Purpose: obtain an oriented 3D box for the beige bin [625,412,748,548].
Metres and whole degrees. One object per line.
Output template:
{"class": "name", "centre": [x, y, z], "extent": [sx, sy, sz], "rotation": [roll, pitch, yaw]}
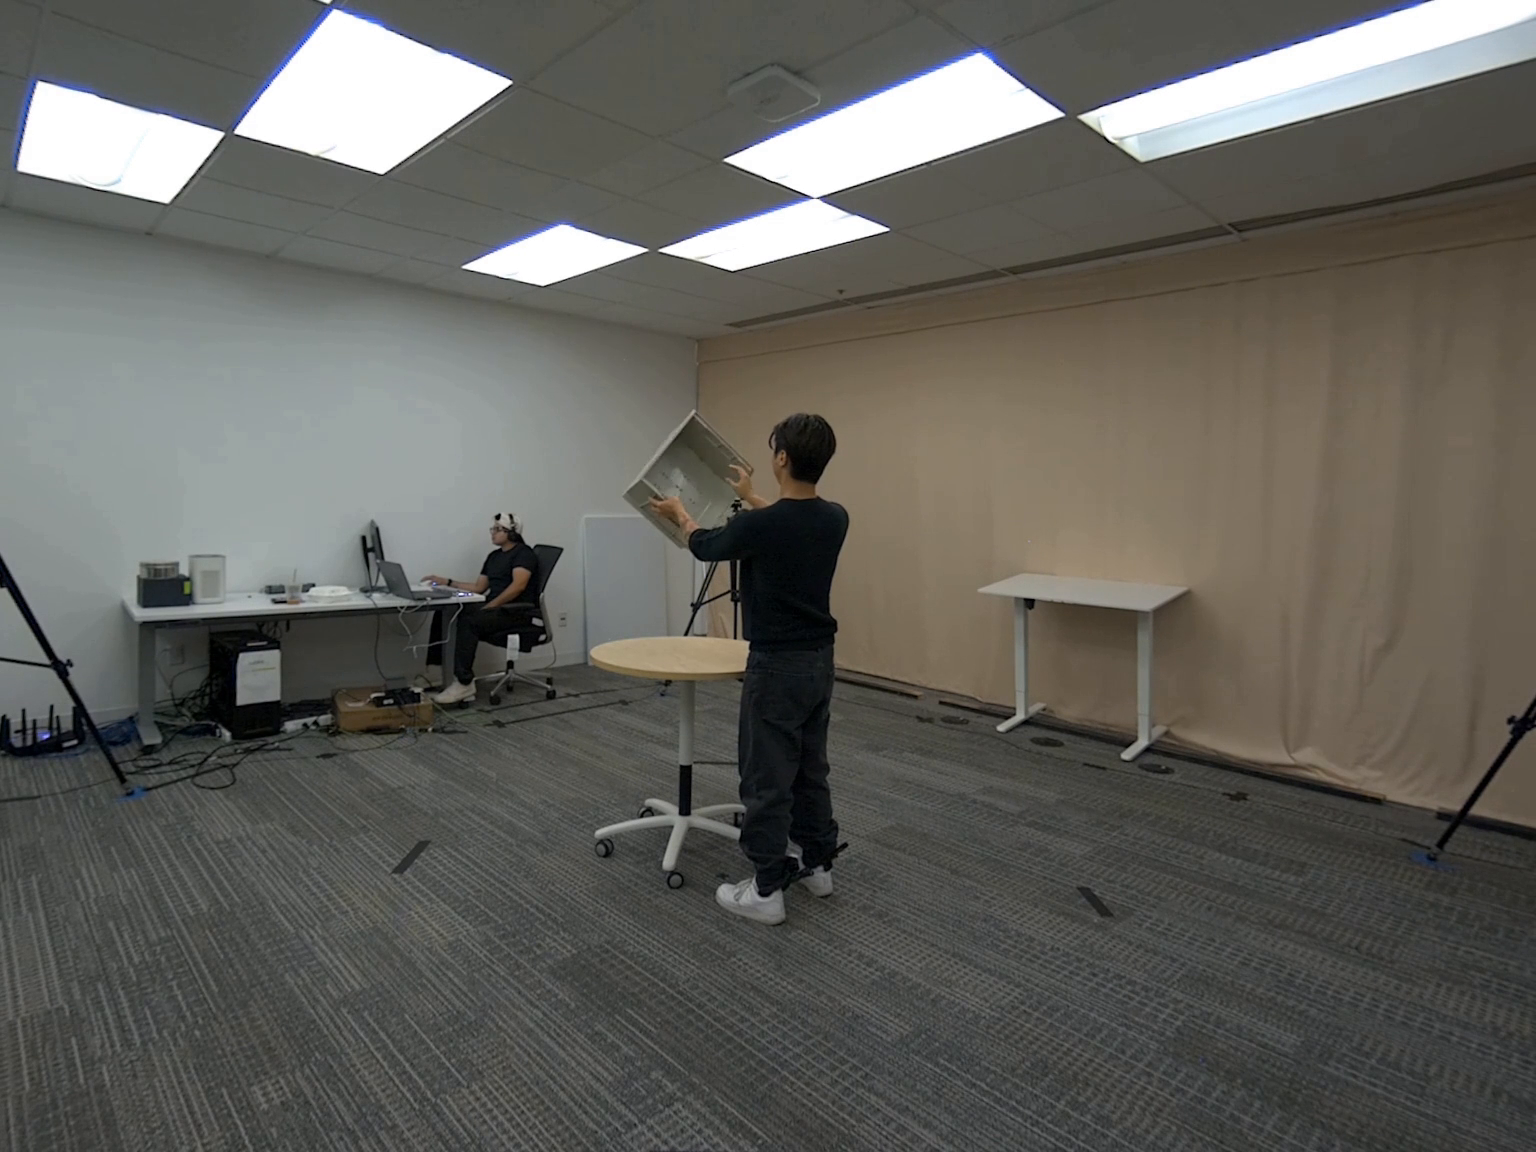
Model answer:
{"class": "beige bin", "centre": [-0.301, -0.360, 3.313], "extent": [0.371, 0.425, 0.191], "rotation": [42, -37, -15]}
